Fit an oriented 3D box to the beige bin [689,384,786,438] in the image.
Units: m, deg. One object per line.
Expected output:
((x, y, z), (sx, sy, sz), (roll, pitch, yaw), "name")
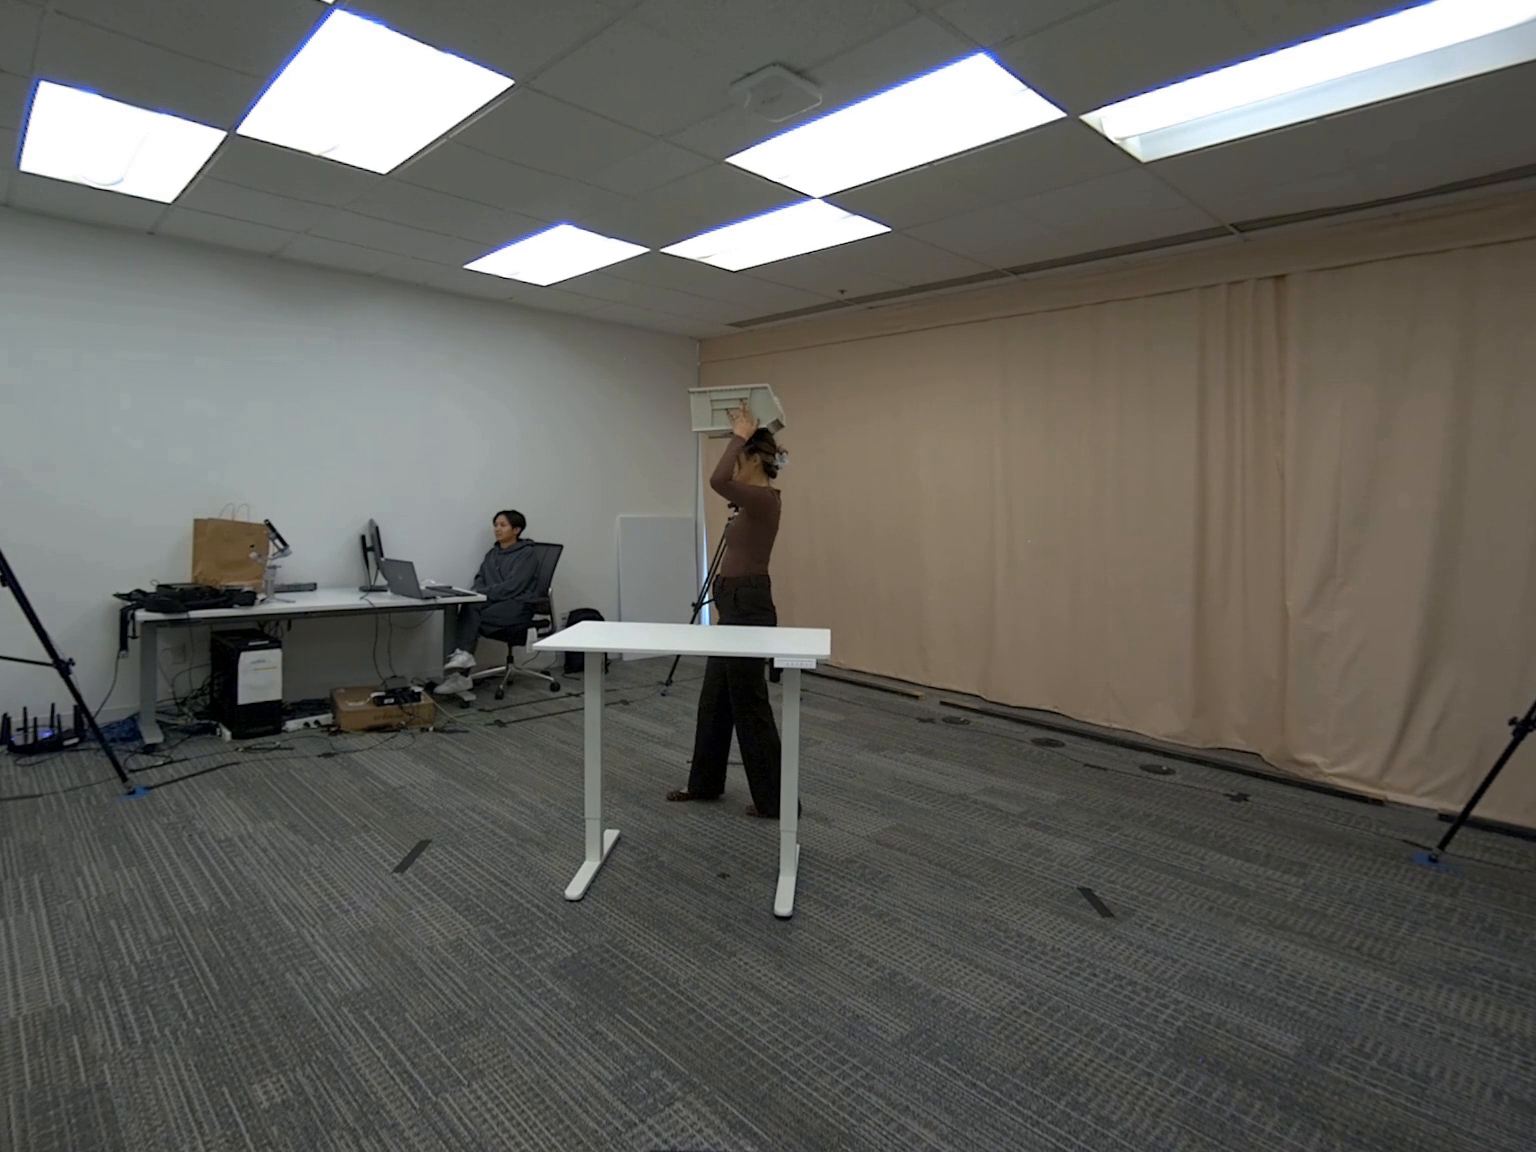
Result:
((-0.135, -0.727, 3.719), (0.379, 0.188, 0.421), (-3, 5, 6), "beige bin")
